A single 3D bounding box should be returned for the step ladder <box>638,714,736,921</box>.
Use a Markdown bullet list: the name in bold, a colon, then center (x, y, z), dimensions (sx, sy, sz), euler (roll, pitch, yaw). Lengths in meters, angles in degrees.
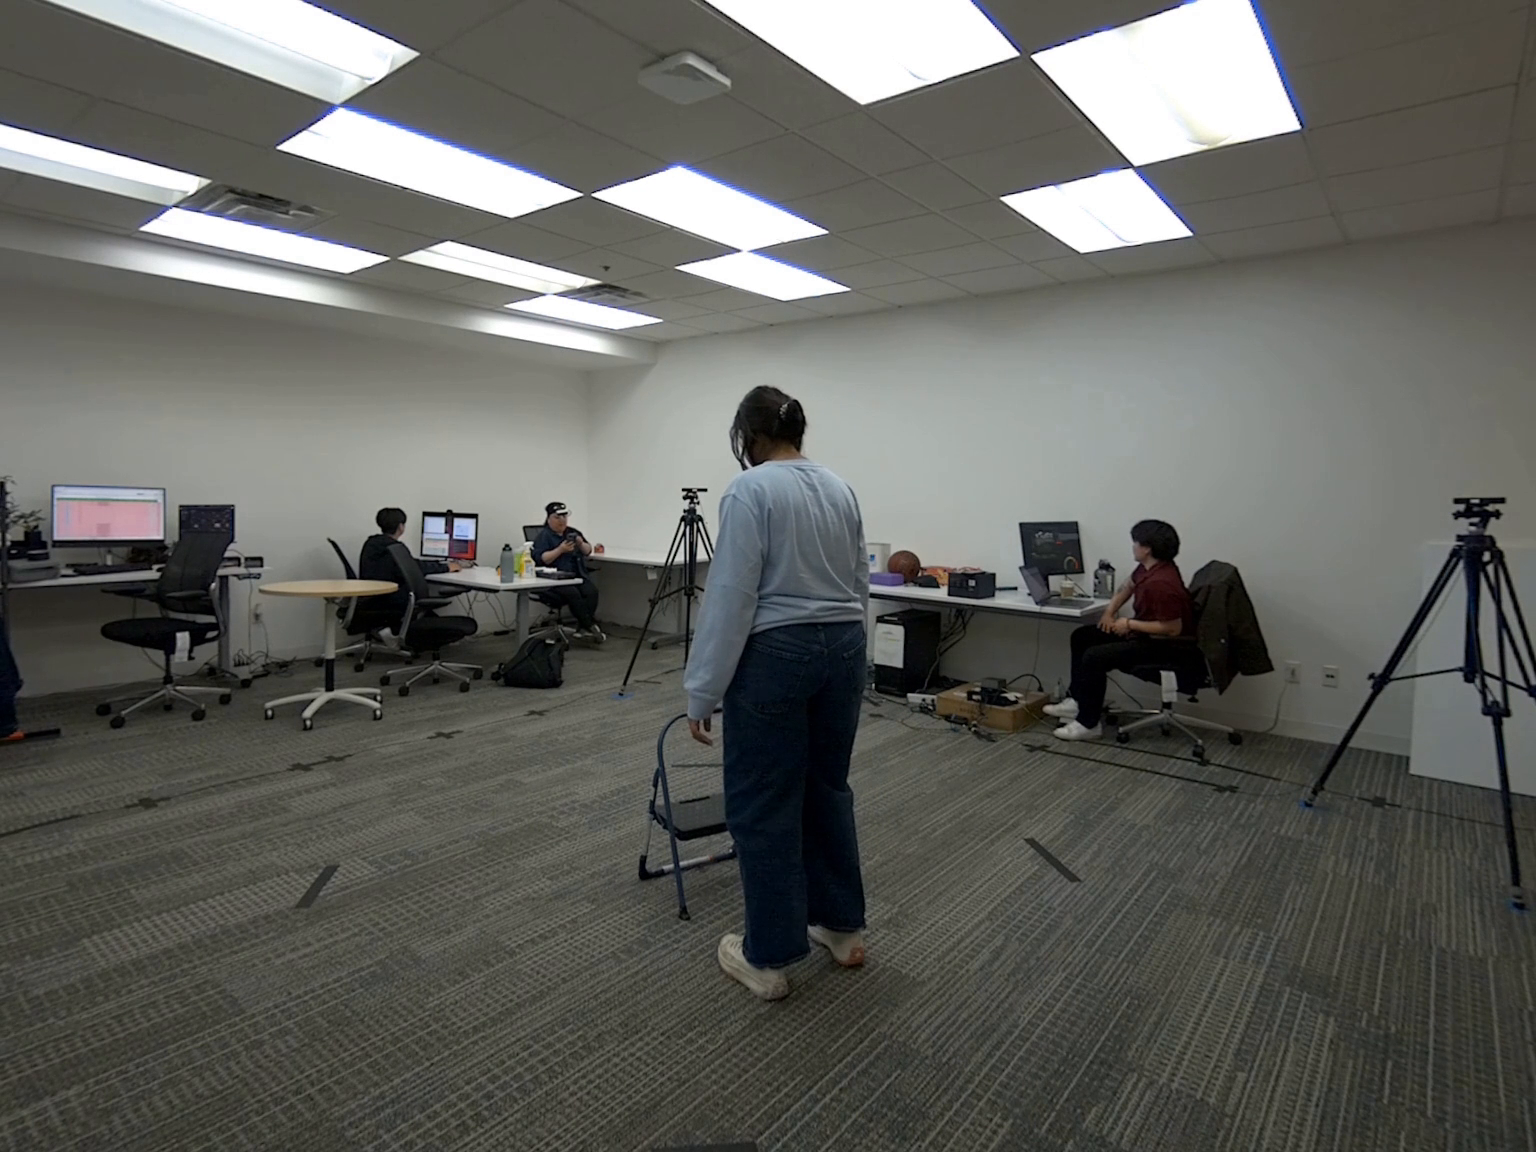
- **step ladder**: center (-0.200, 0.781, 2.974), dimensions (0.418, 0.604, 0.360), euler (-1, 4, -34)
